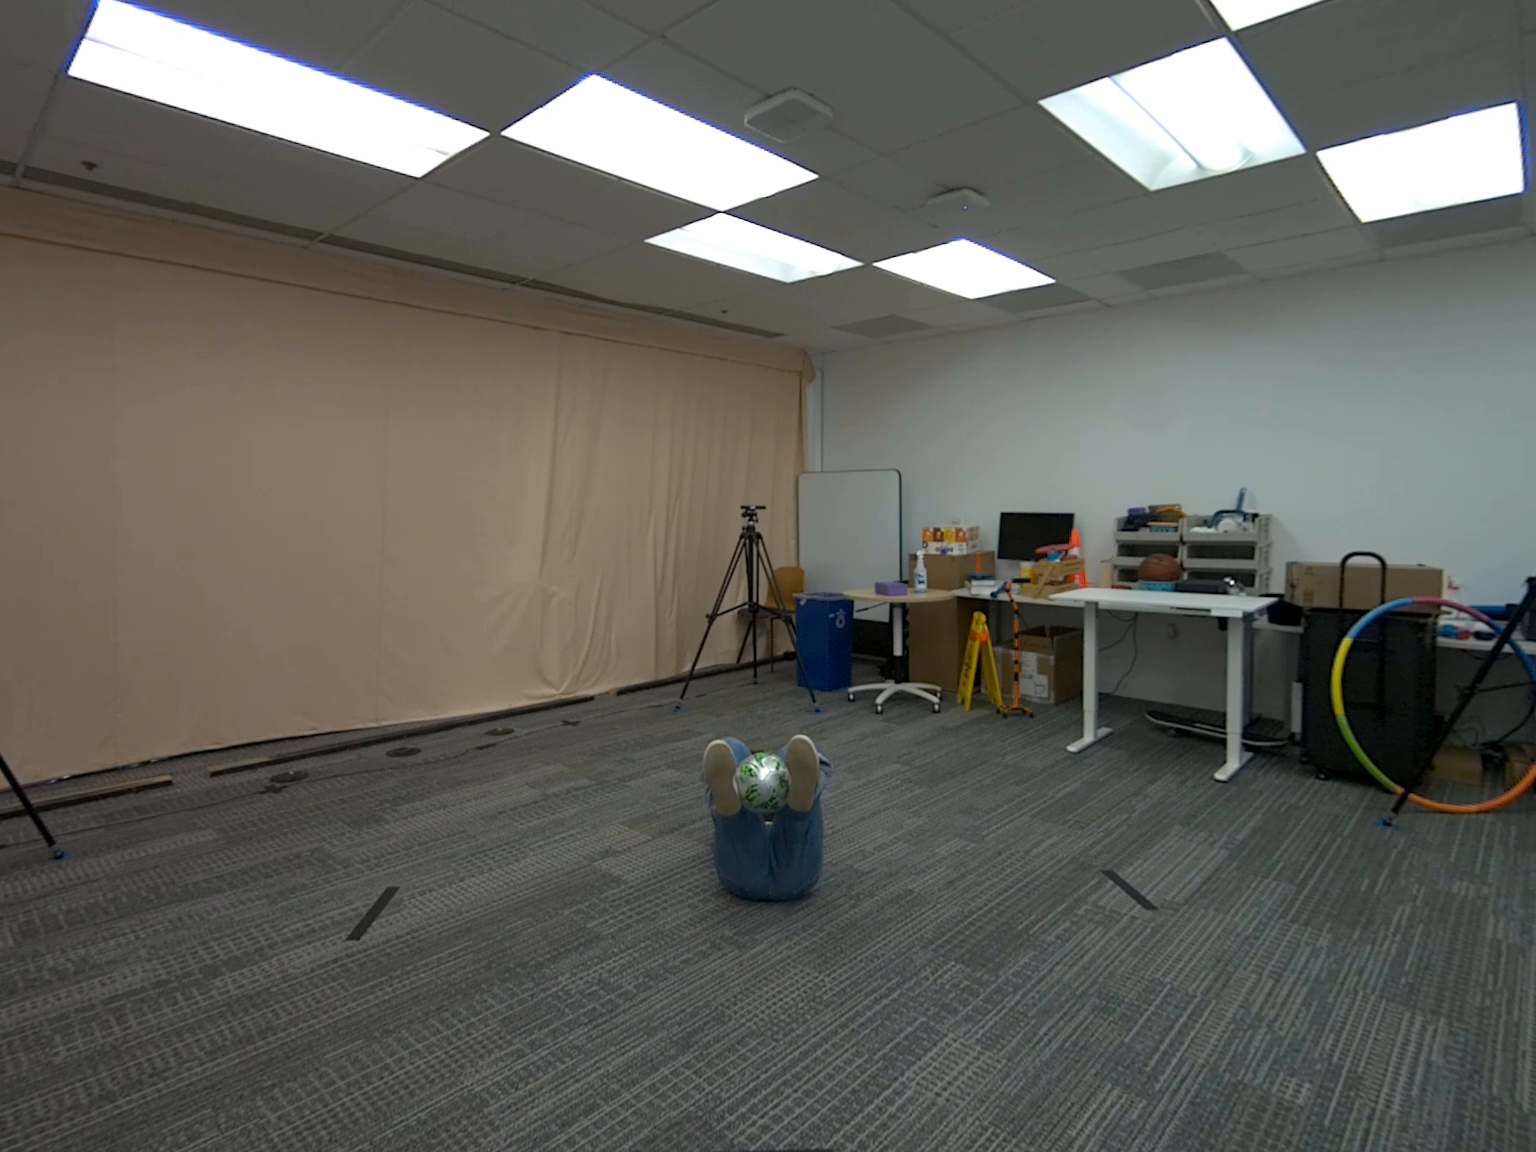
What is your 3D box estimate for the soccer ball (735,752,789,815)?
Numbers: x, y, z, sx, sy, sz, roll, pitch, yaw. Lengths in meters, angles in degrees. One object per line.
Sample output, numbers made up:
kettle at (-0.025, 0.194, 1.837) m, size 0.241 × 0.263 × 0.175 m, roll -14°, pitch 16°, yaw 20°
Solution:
soccer ball at (0.001, 0.654, 2.622) m, size 0.187 × 0.187 × 0.188 m, roll 3°, pitch 4°, yaw -2°
